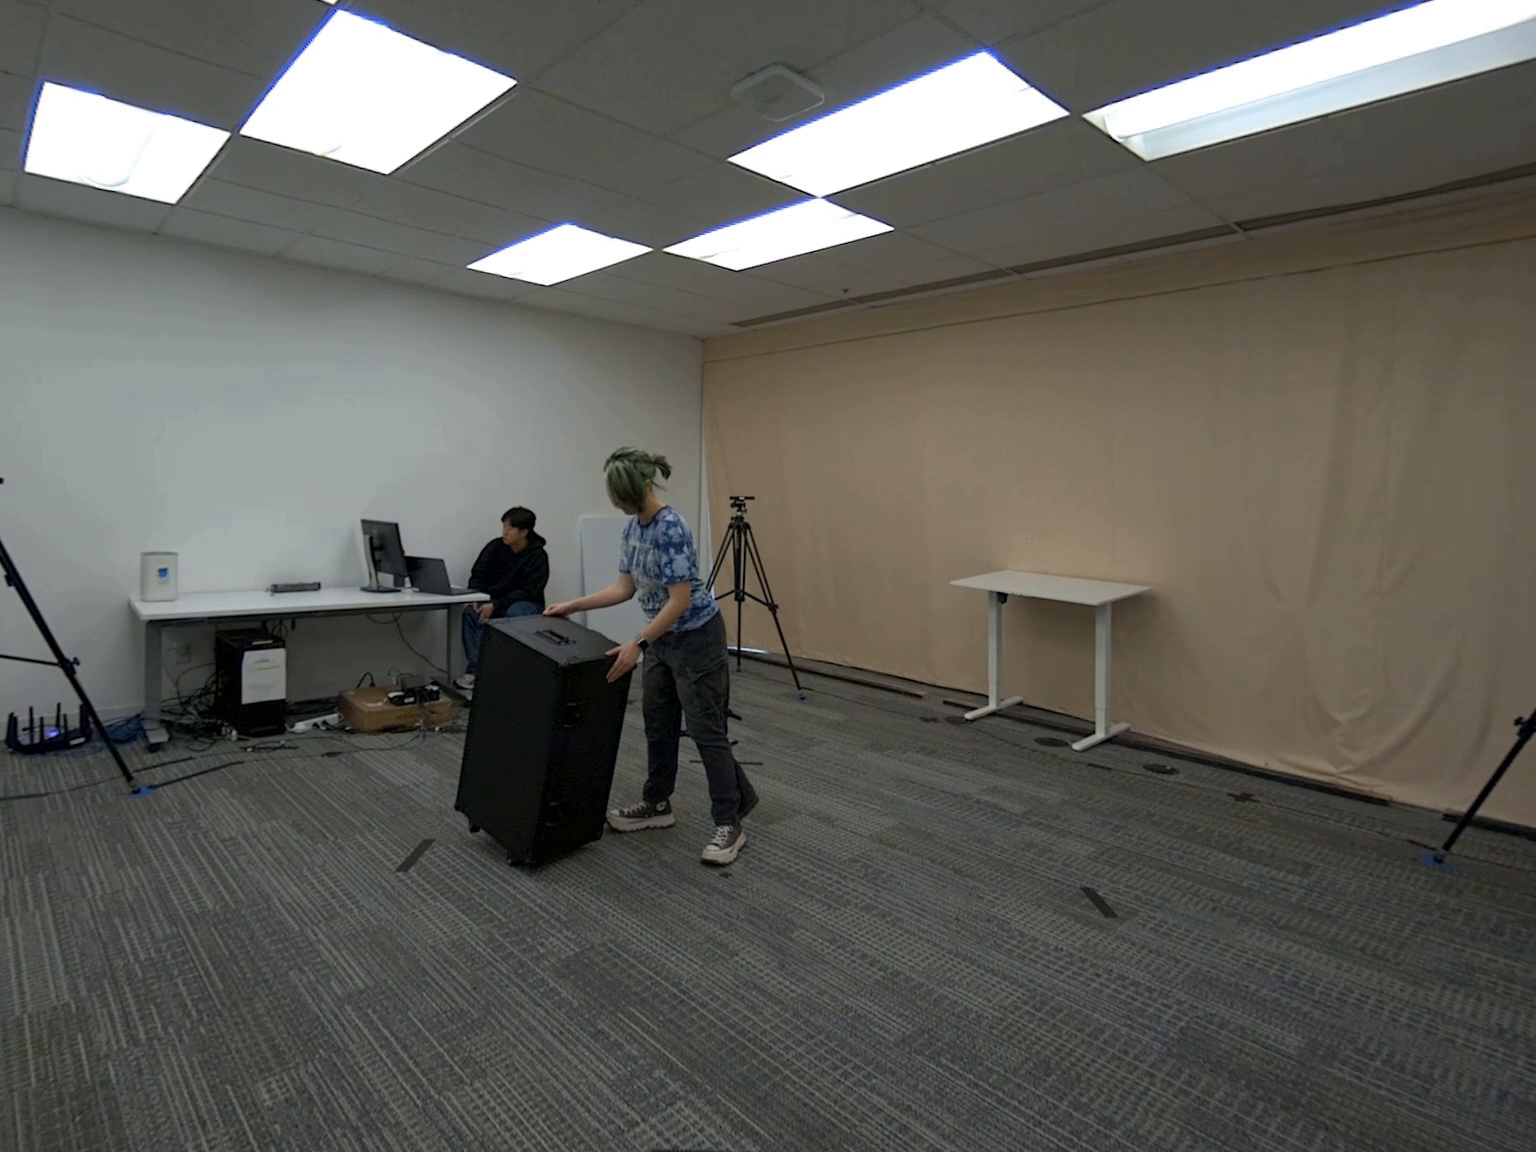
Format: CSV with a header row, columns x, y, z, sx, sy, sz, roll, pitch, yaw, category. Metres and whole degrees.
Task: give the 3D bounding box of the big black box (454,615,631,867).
x,y,z,sx,sy,sz,roll,pitch,yaw,category
-0.876,0.633,3.247,0.536,0.856,0.387,19,12,35,big black box
